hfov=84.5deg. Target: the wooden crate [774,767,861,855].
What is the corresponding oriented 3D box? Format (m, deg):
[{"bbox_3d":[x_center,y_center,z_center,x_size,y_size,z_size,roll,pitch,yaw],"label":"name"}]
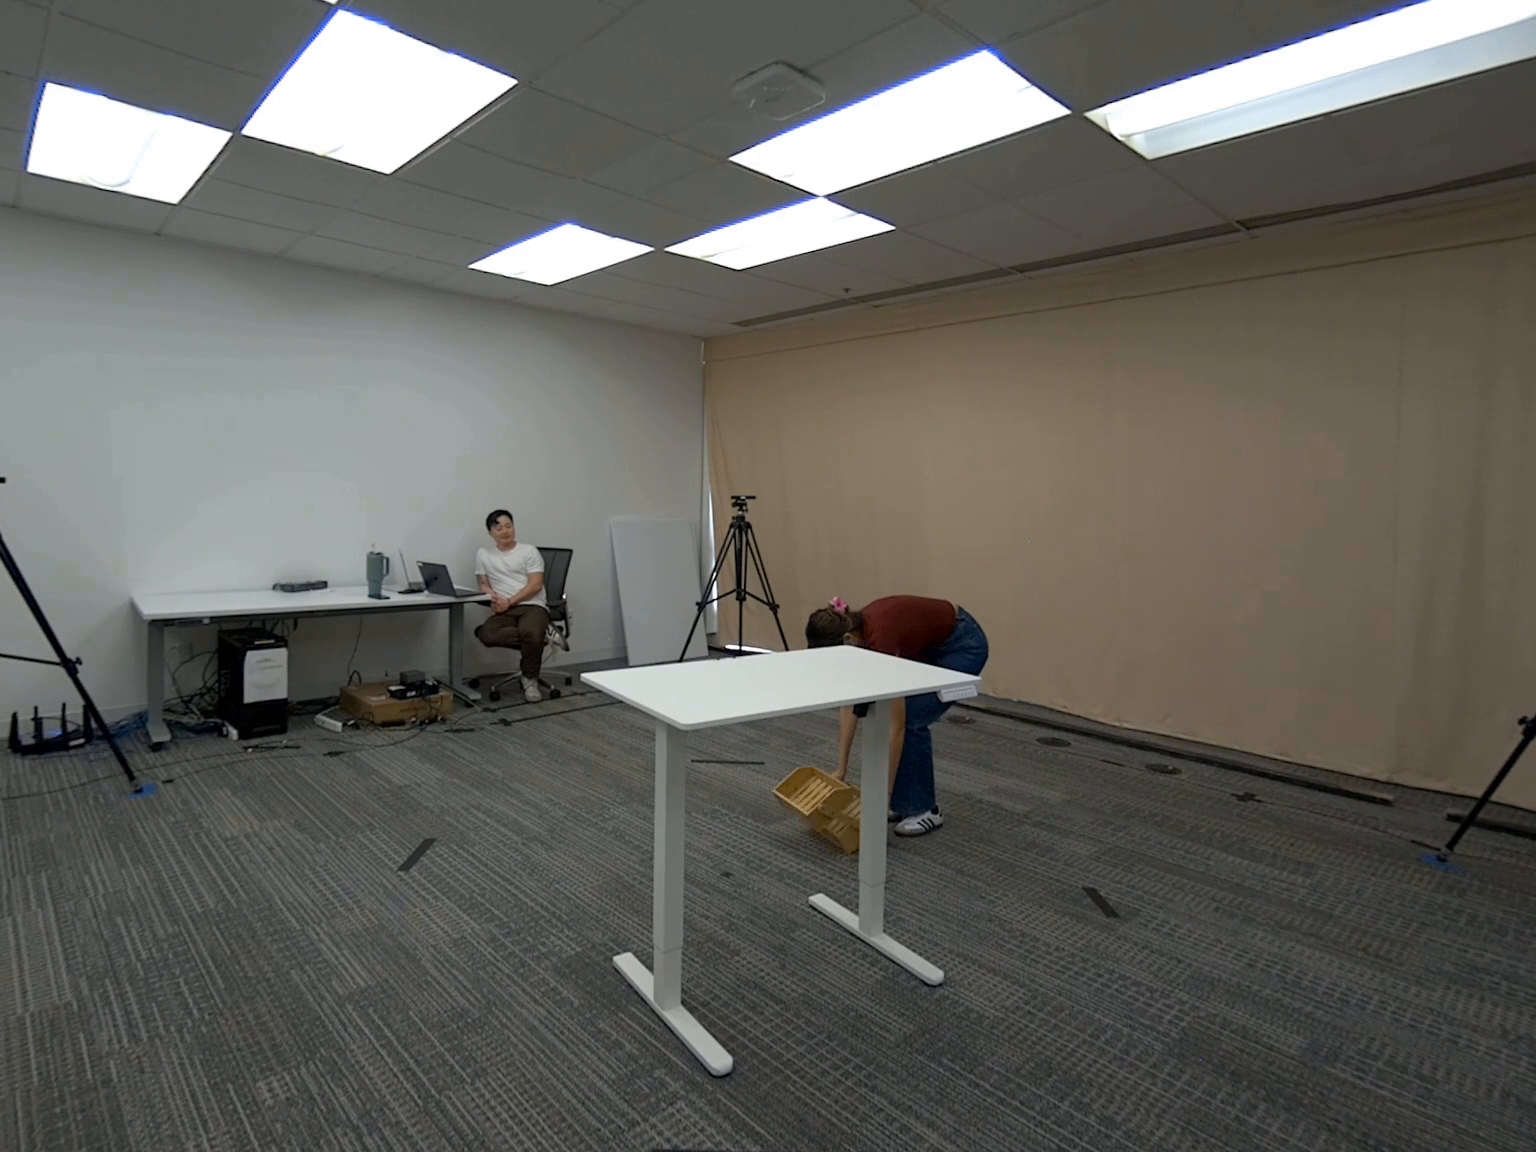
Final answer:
[{"bbox_3d":[0.248,0.915,3.427,0.301,0.269,0.331,-37,18,-19],"label":"wooden crate"}]
